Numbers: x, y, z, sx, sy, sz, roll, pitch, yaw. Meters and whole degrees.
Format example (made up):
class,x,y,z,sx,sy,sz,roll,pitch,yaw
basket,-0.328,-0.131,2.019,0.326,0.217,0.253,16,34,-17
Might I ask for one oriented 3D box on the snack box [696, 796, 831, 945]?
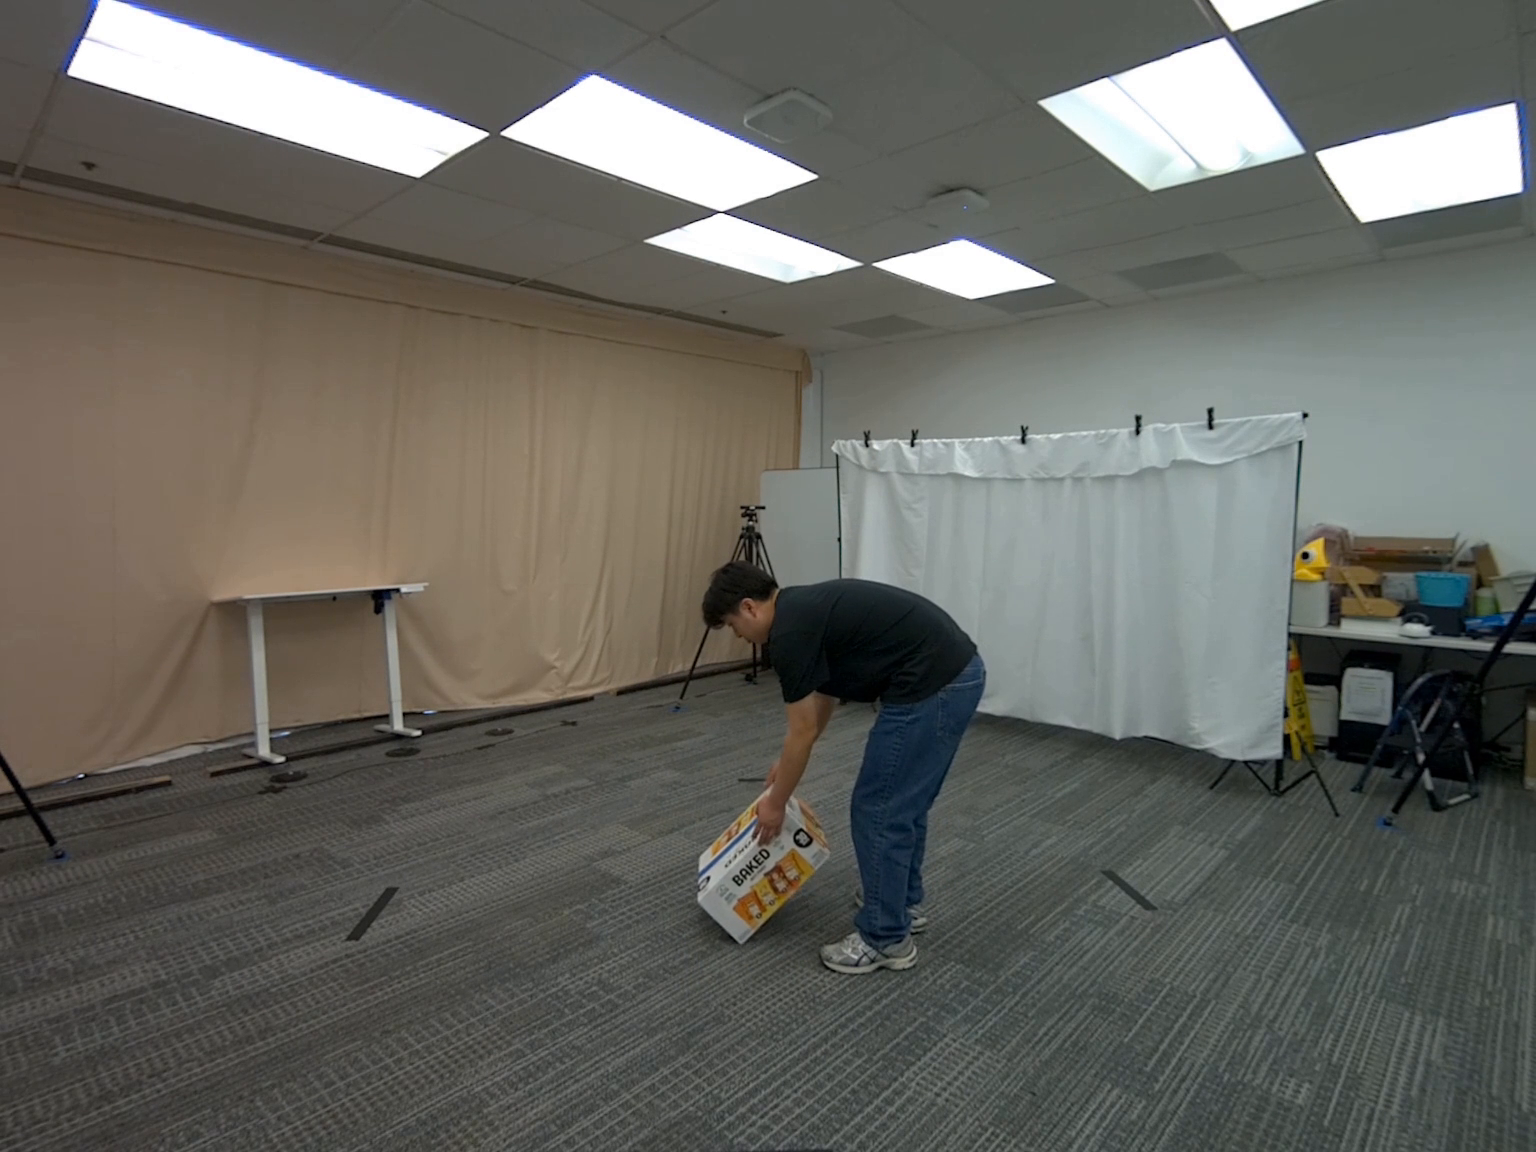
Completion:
class,x,y,z,sx,sy,sz,roll,pitch,yaw
snack box,-0.020,0.947,2.828,0.205,0.405,0.341,44,1,-5
